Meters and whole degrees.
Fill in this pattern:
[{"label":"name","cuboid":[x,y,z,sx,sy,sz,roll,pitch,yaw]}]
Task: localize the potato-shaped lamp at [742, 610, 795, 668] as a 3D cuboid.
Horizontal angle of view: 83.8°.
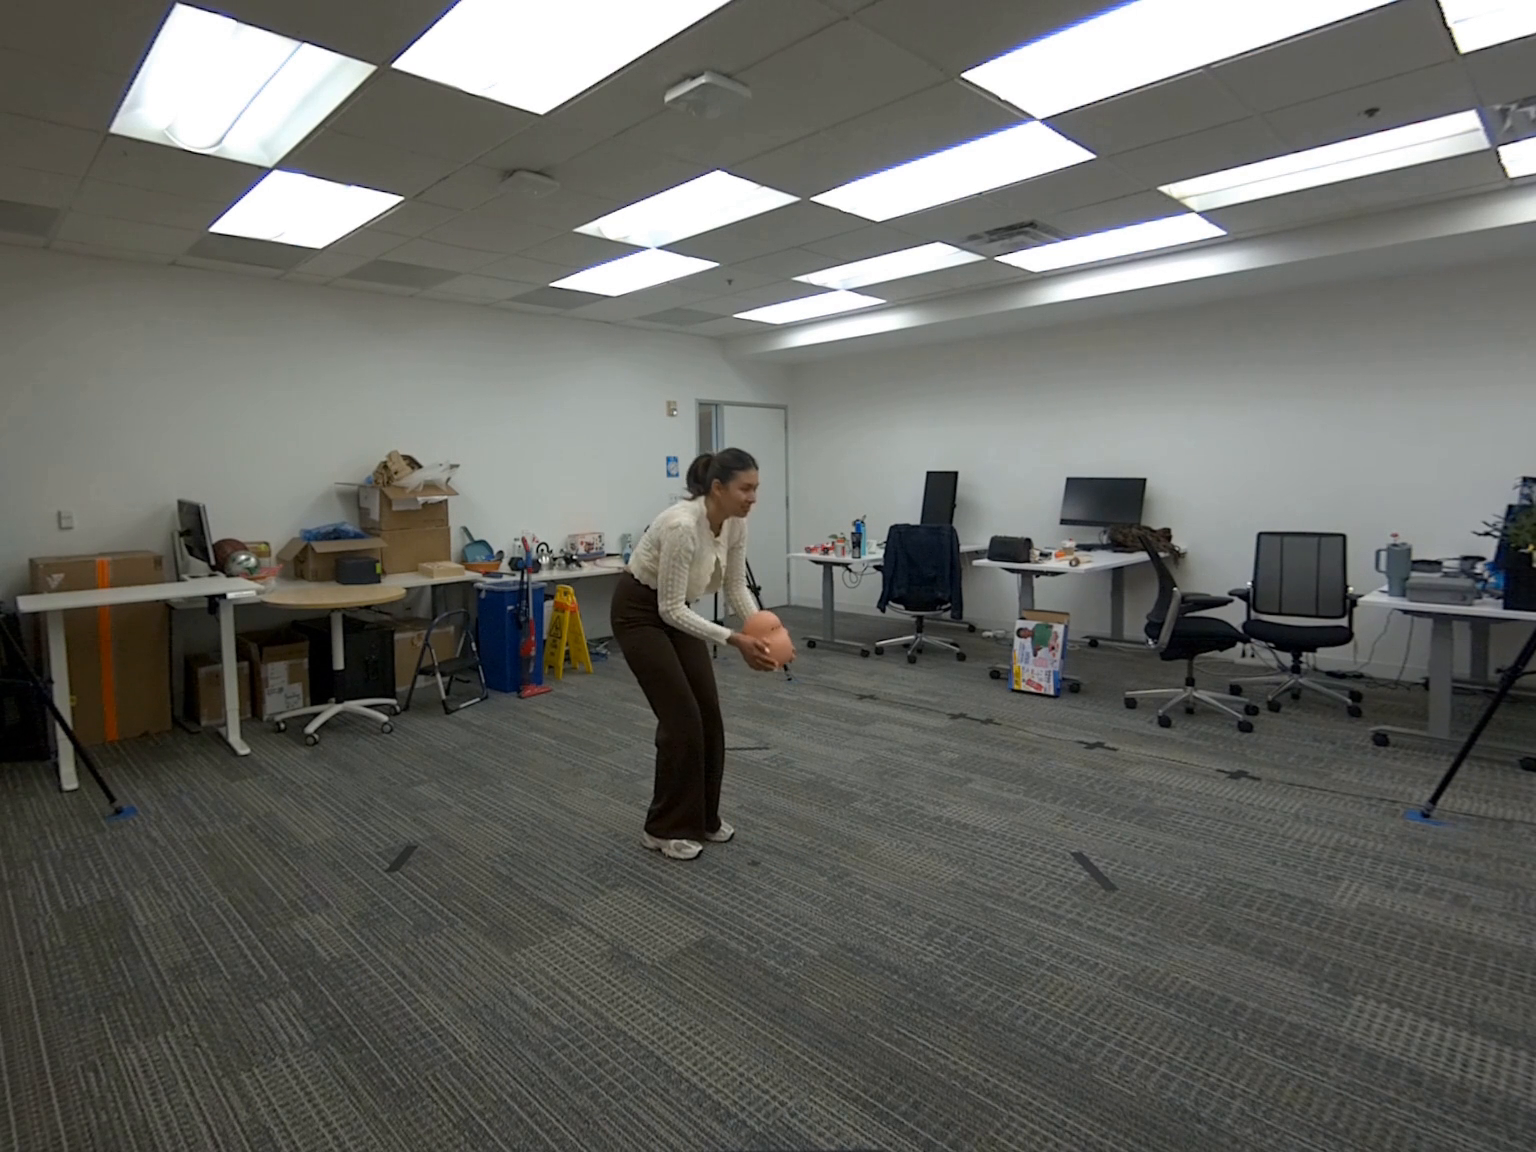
[{"label":"potato-shaped lamp","cuboid":[-0.010,0.227,3.024,0.176,0.196,0.162,-5,10,42]}]
